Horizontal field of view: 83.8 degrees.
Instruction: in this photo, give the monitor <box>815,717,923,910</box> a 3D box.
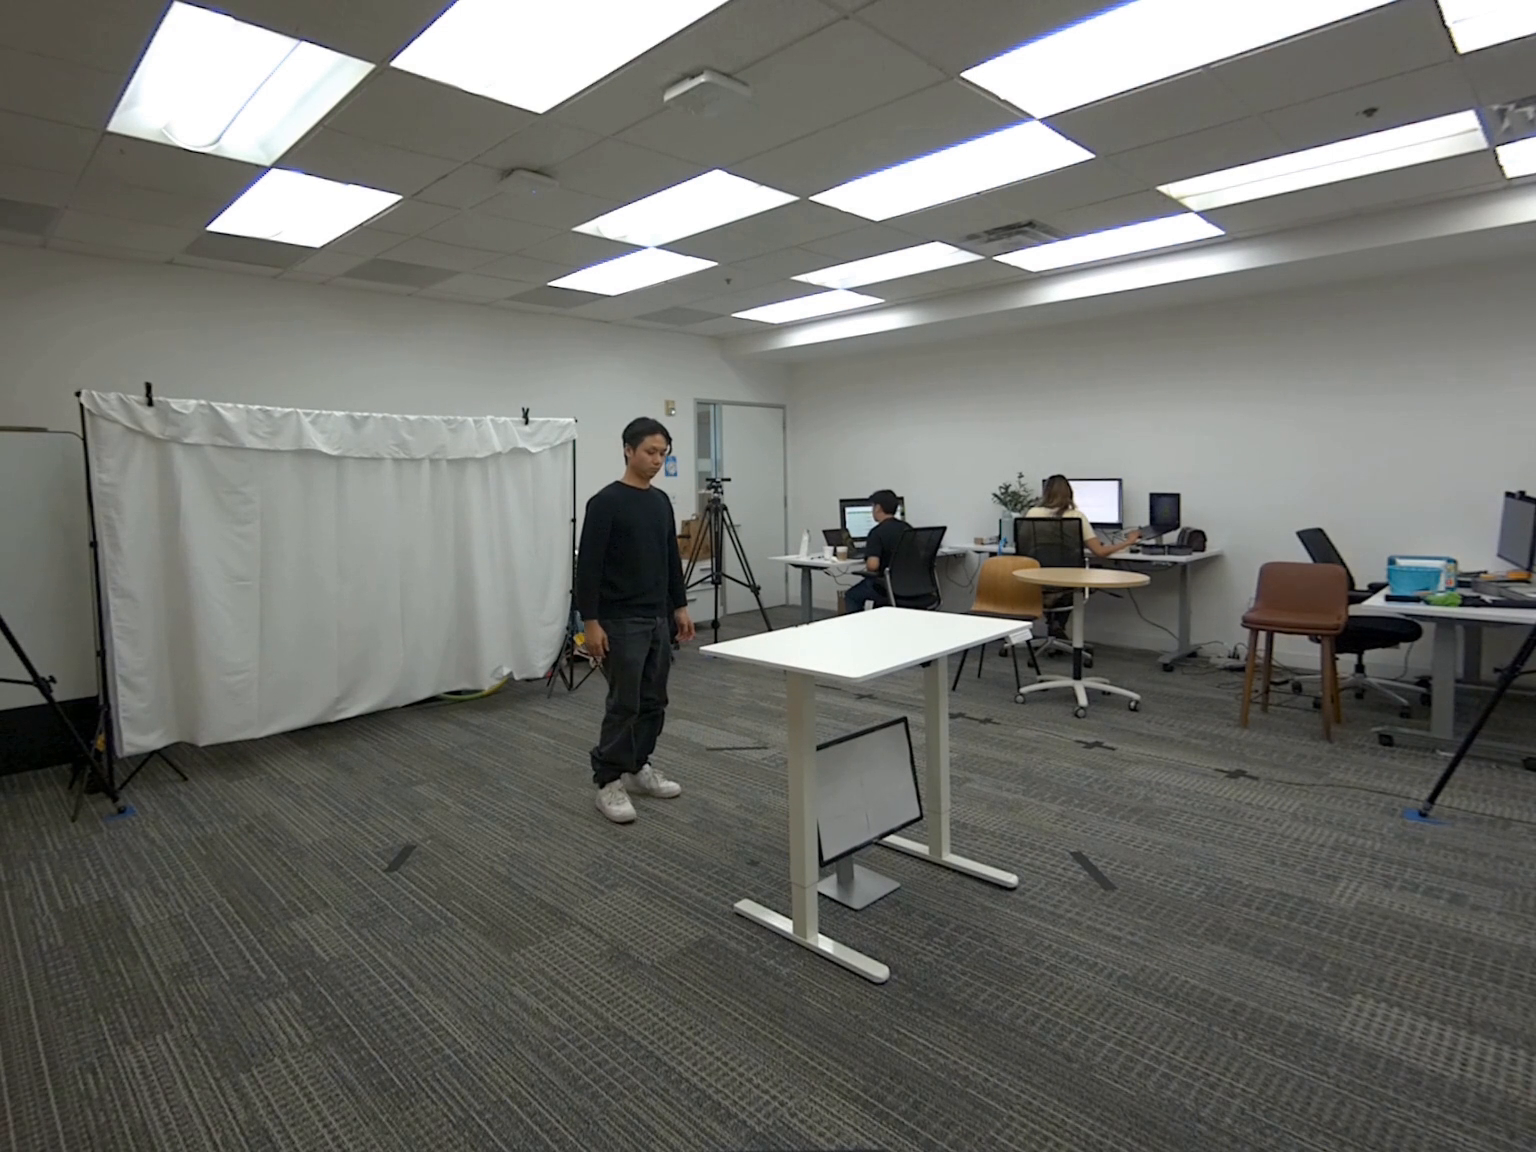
[{"bbox_3d":[0.302,0.787,2.880,0.180,0.512,0.516,12,11,43],"label":"monitor"}]
